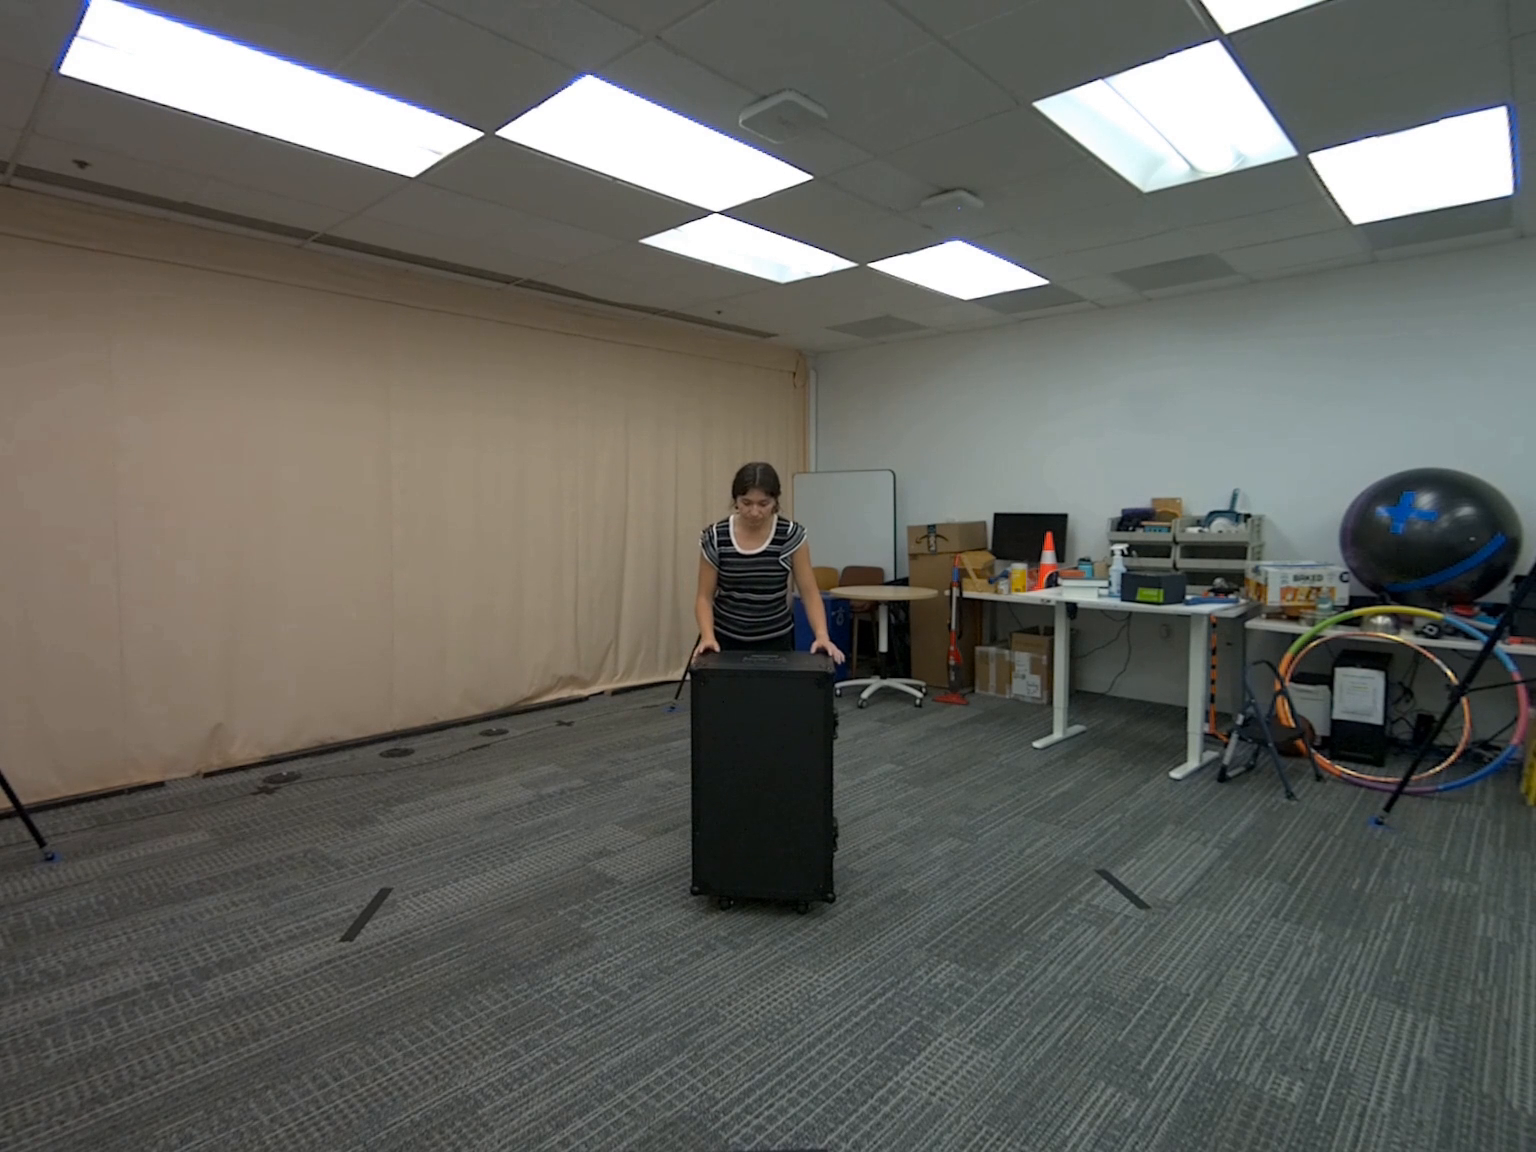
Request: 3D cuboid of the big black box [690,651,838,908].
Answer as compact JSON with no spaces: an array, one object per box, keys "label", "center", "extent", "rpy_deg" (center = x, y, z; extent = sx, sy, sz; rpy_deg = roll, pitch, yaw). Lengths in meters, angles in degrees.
[{"label":"big black box","center":[-0.010,0.717,3.001],"extent":[0.525,0.860,0.394],"rpy_deg":[-1,3,6]}]
